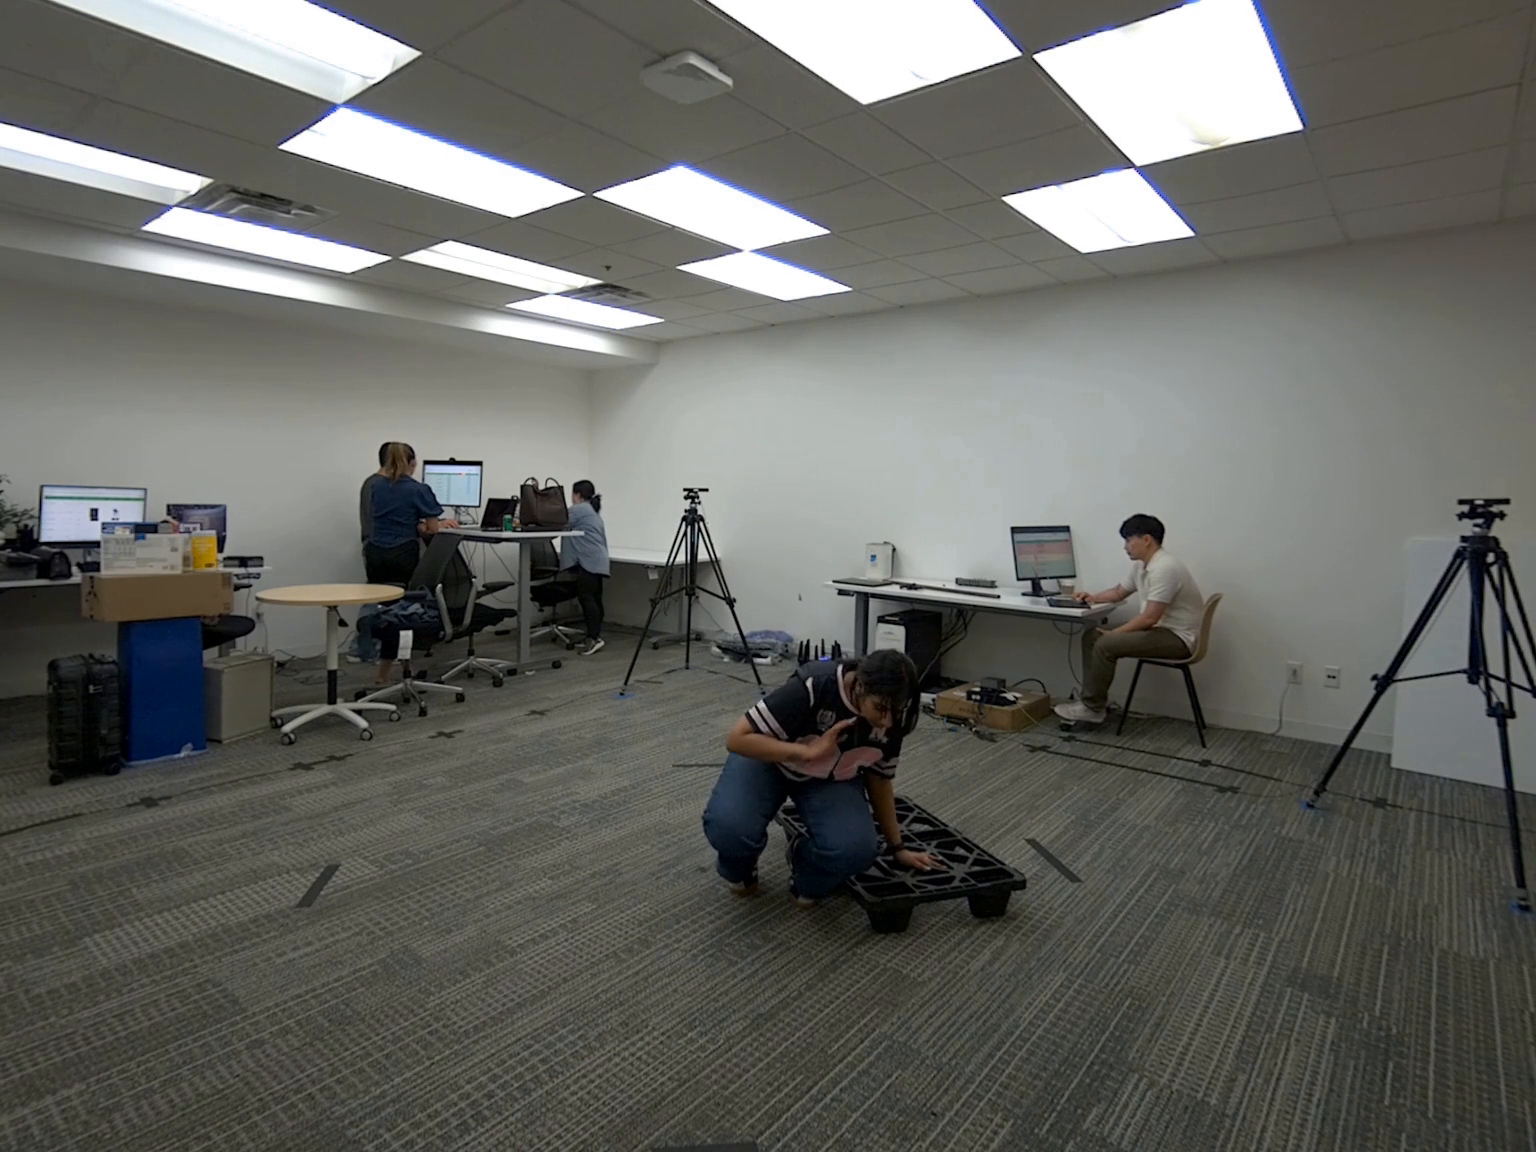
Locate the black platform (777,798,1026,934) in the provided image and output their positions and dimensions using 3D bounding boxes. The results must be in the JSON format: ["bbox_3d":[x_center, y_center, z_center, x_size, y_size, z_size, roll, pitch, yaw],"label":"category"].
[{"bbox_3d":[0.427,1.018,3.083,0.593,0.143,0.825,-1,6,-20],"label":"black platform"}]
